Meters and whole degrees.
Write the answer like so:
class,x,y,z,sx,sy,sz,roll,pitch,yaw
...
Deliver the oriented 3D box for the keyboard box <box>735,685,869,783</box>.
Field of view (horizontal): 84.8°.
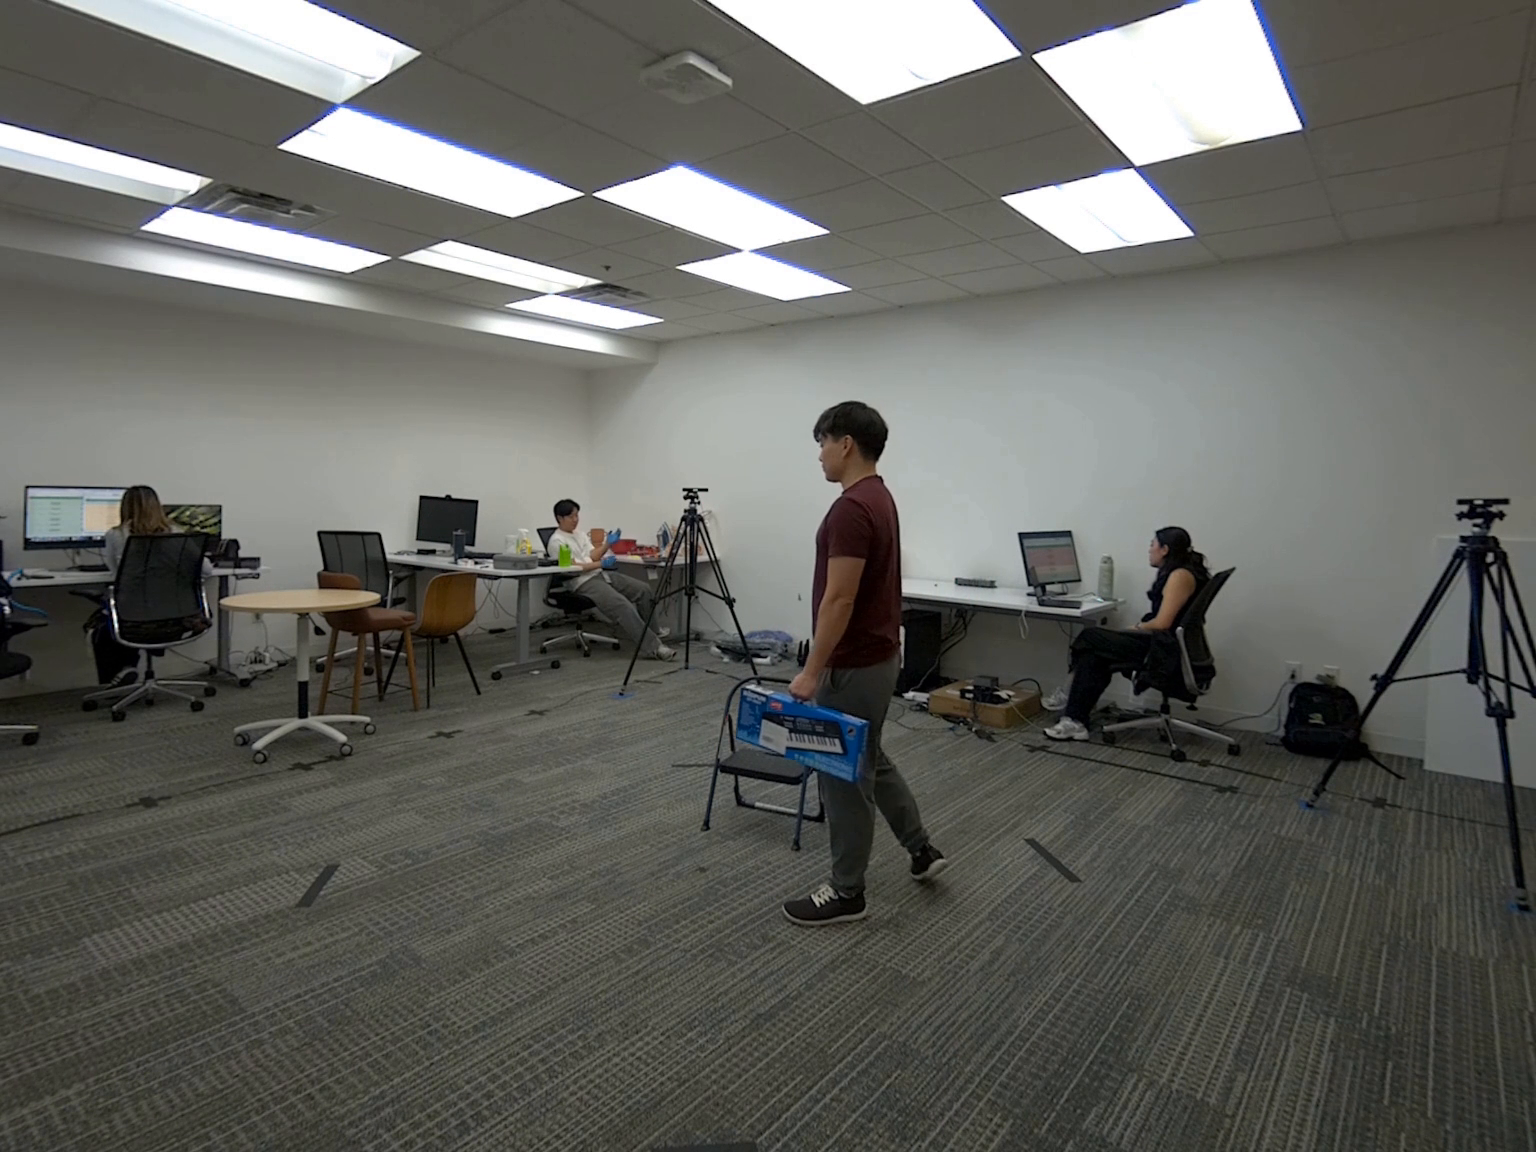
class,x,y,z,sx,sy,sz,roll,pitch,yaw
keyboard box,0.088,0.471,2.611,0.452,0.175,0.057,12,7,36
